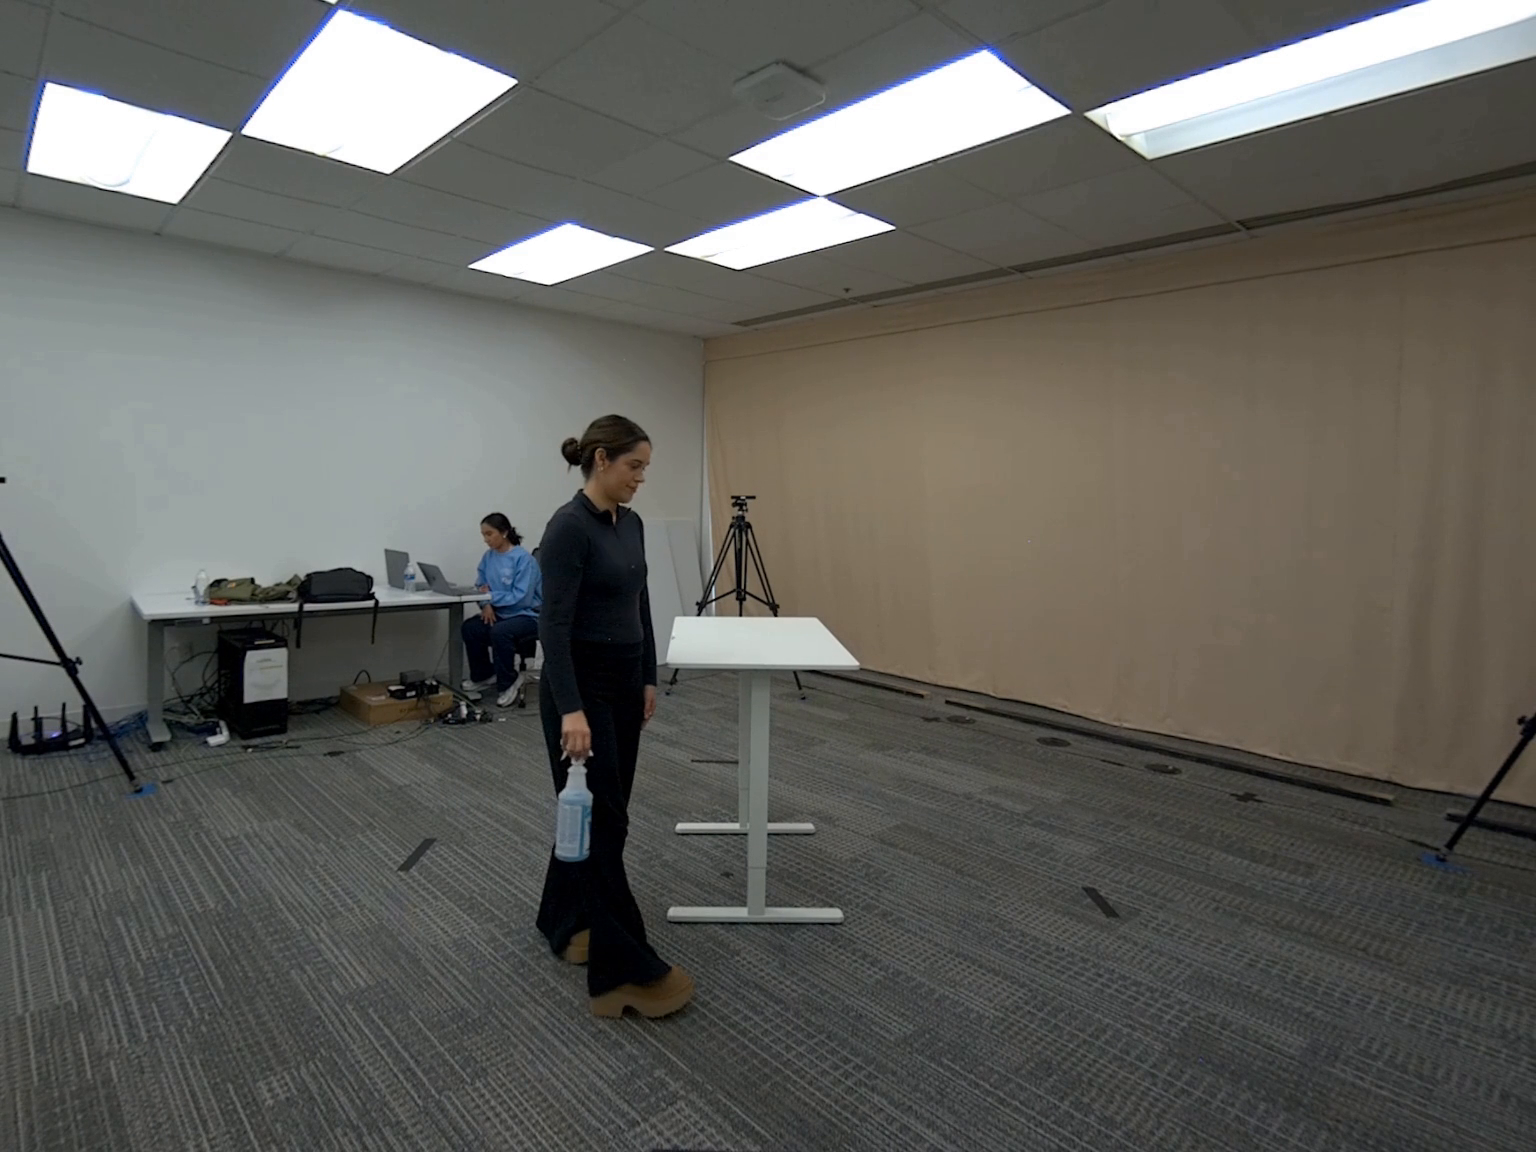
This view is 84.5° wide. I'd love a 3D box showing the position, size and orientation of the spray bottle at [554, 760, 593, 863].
[{"bbox_3d":[-0.506,0.576,2.162,0.085,0.297,0.092,4,-2,-42],"label":"spray bottle"}]
